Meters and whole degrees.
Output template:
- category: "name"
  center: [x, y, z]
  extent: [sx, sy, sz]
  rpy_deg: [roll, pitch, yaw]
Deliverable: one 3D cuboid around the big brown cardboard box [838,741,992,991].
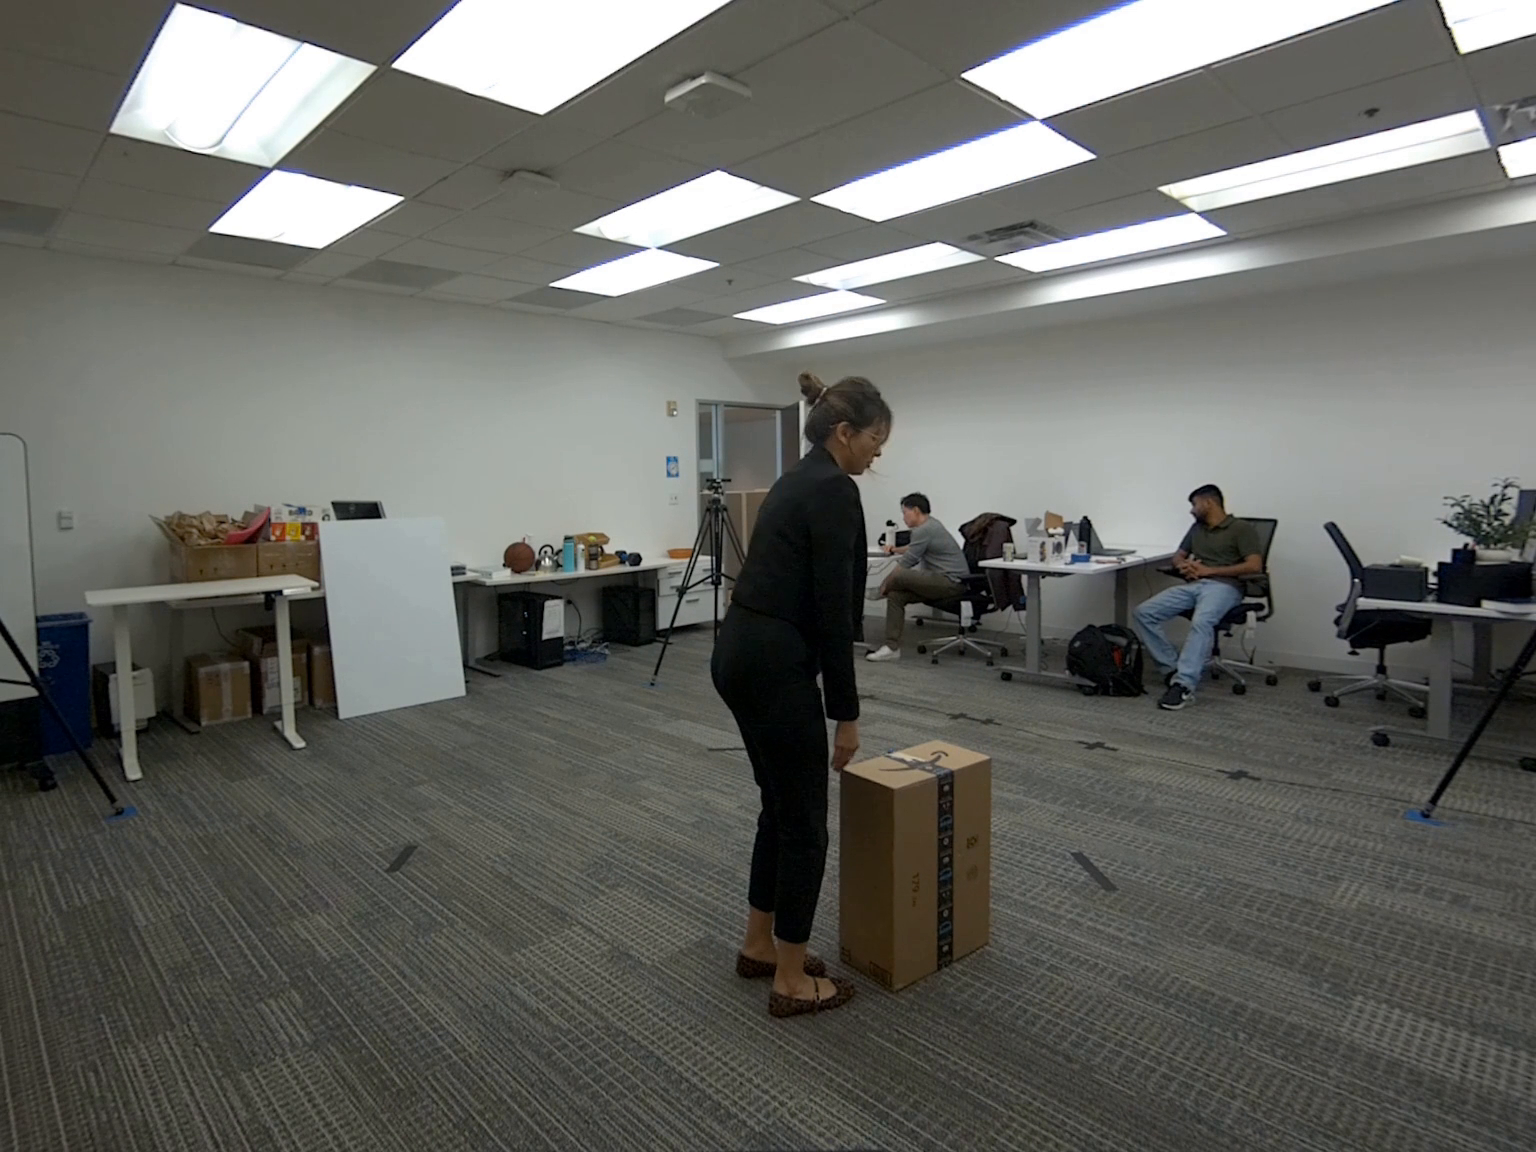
- category: "big brown cardboard box"
  center: [0.428, 0.826, 2.505]
  extent: [0.407, 0.587, 0.240]
  rpy_deg: [-3, 5, -36]
